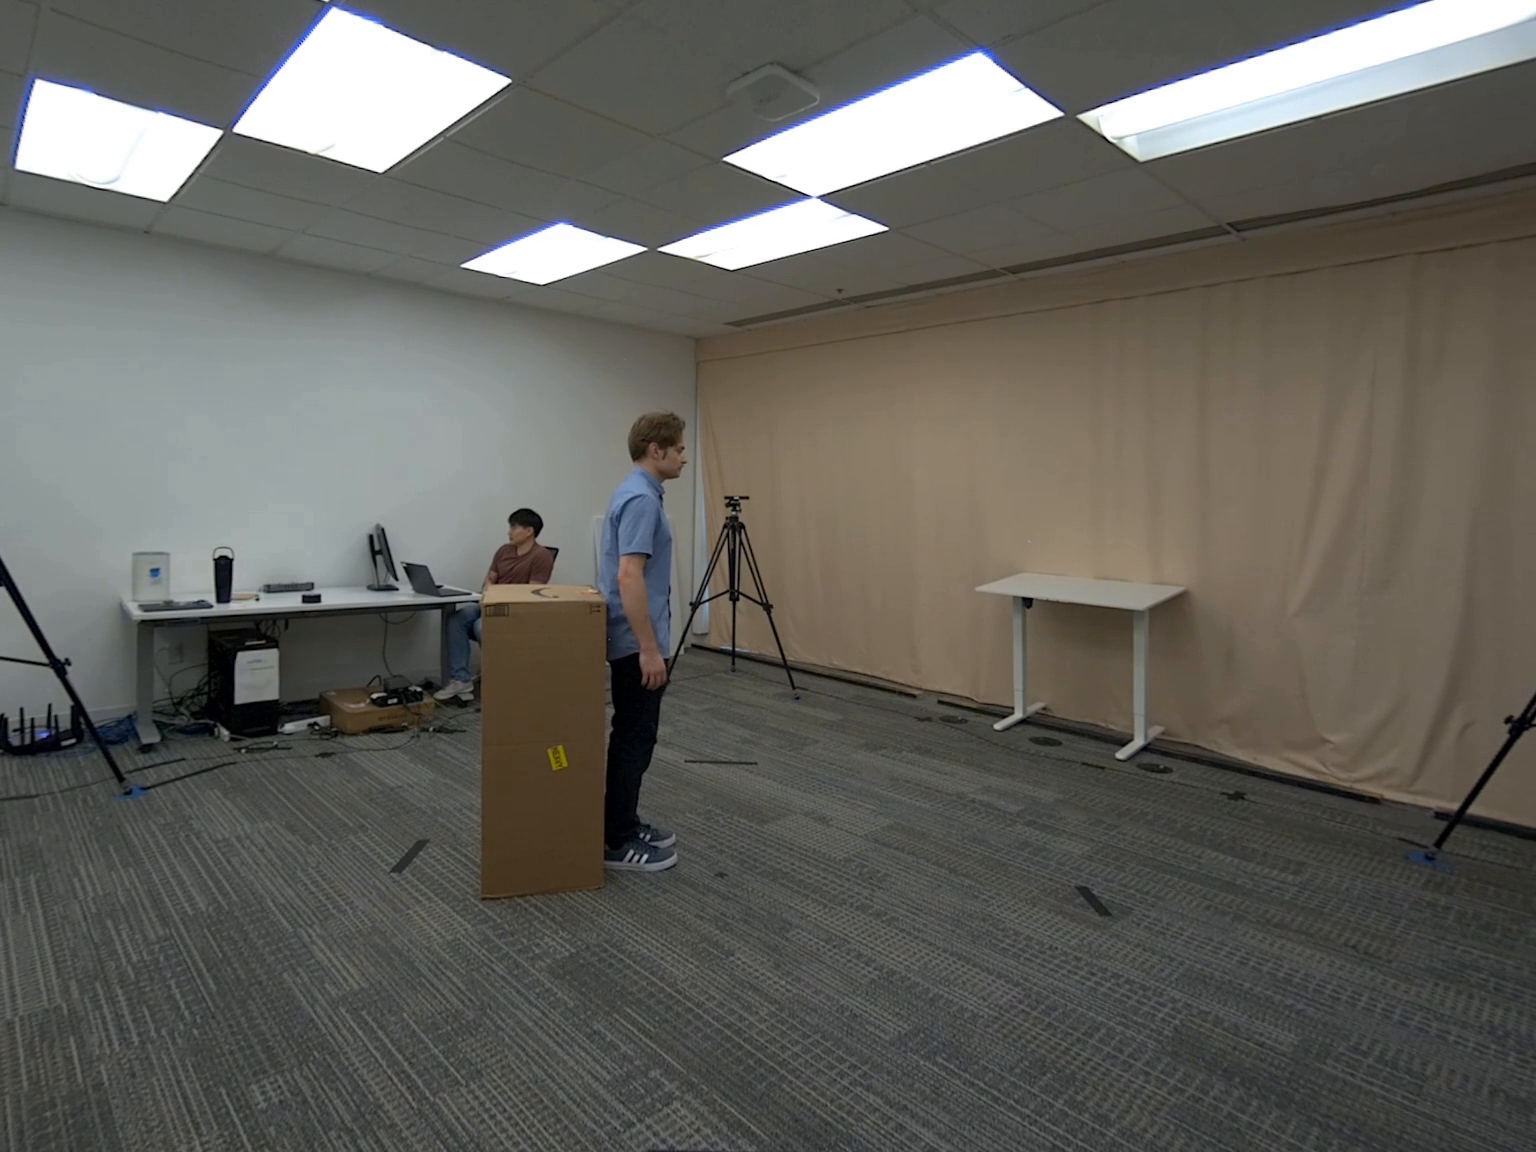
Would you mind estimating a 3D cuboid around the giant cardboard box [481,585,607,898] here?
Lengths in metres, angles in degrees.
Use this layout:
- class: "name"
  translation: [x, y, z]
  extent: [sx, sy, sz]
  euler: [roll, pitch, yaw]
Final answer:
- class: "giant cardboard box"
  translation: [-0.864, 0.578, 3.172]
  extent: [0.441, 1.025, 0.593]
  euler: [0, 3, -18]
